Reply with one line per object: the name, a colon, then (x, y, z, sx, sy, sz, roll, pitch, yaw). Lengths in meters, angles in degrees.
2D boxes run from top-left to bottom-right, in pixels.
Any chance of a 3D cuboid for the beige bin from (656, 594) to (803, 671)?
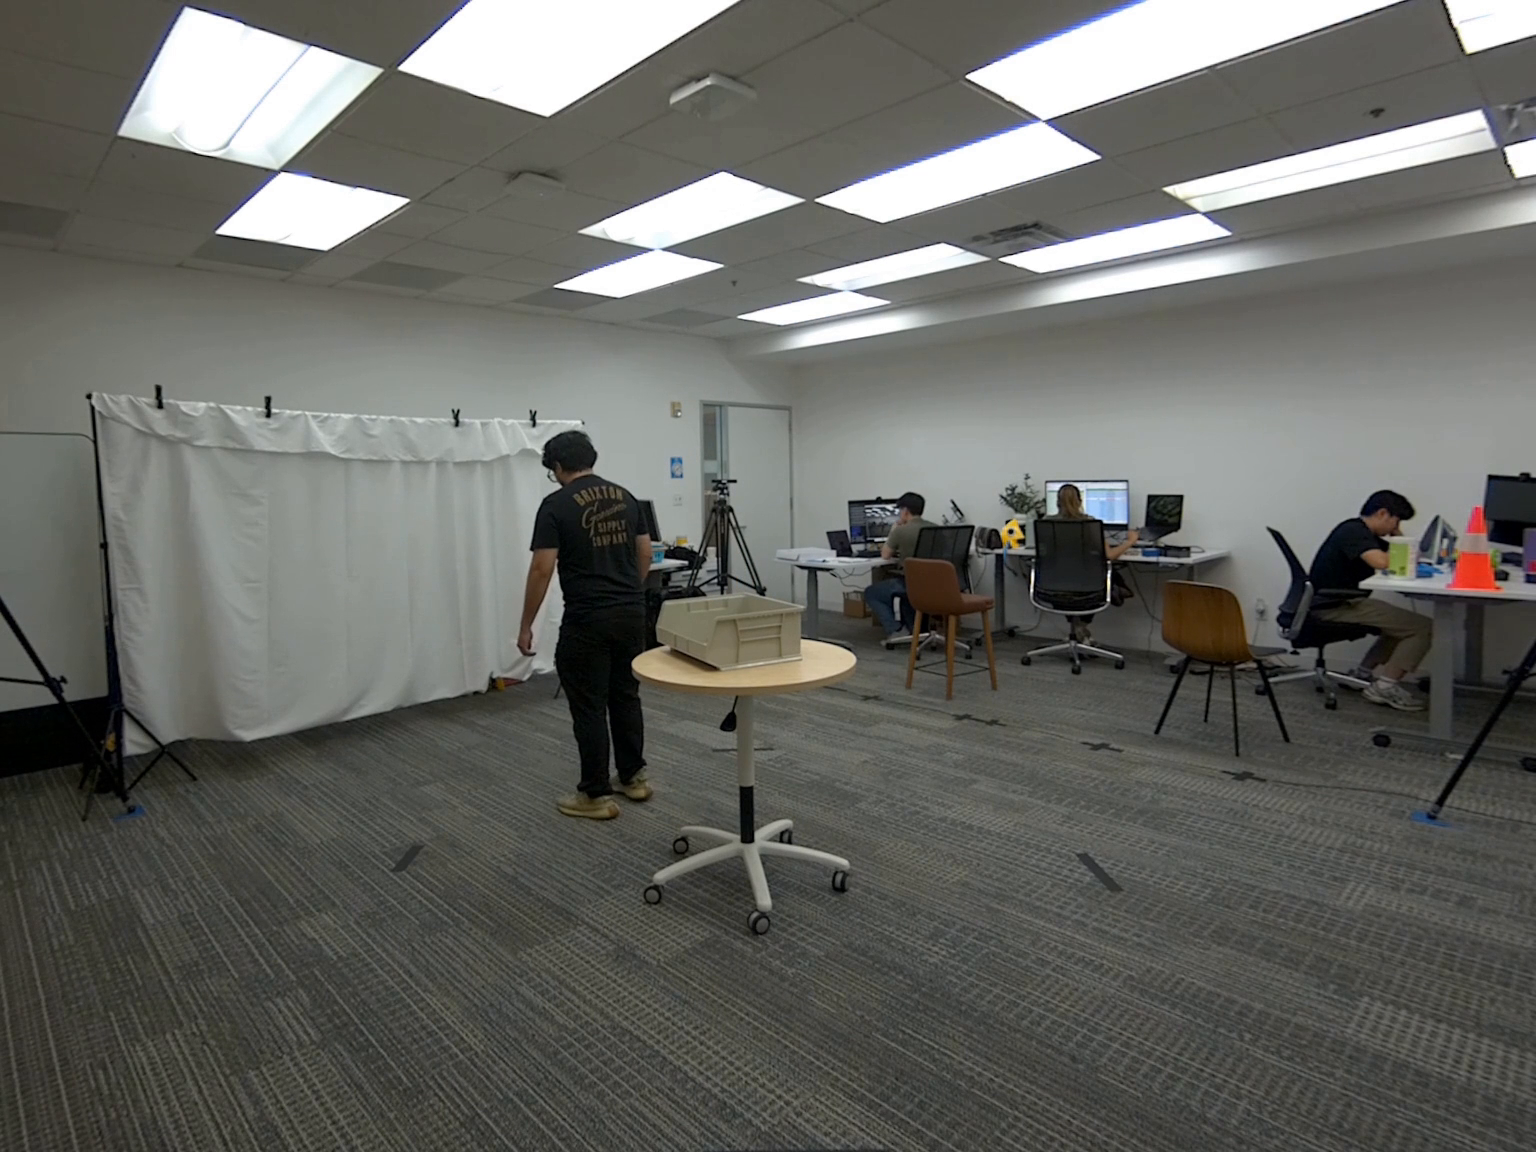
beige bin: (-0.138, 0.188, 2.988, 0.369, 0.188, 0.434, -3, 6, -29)
